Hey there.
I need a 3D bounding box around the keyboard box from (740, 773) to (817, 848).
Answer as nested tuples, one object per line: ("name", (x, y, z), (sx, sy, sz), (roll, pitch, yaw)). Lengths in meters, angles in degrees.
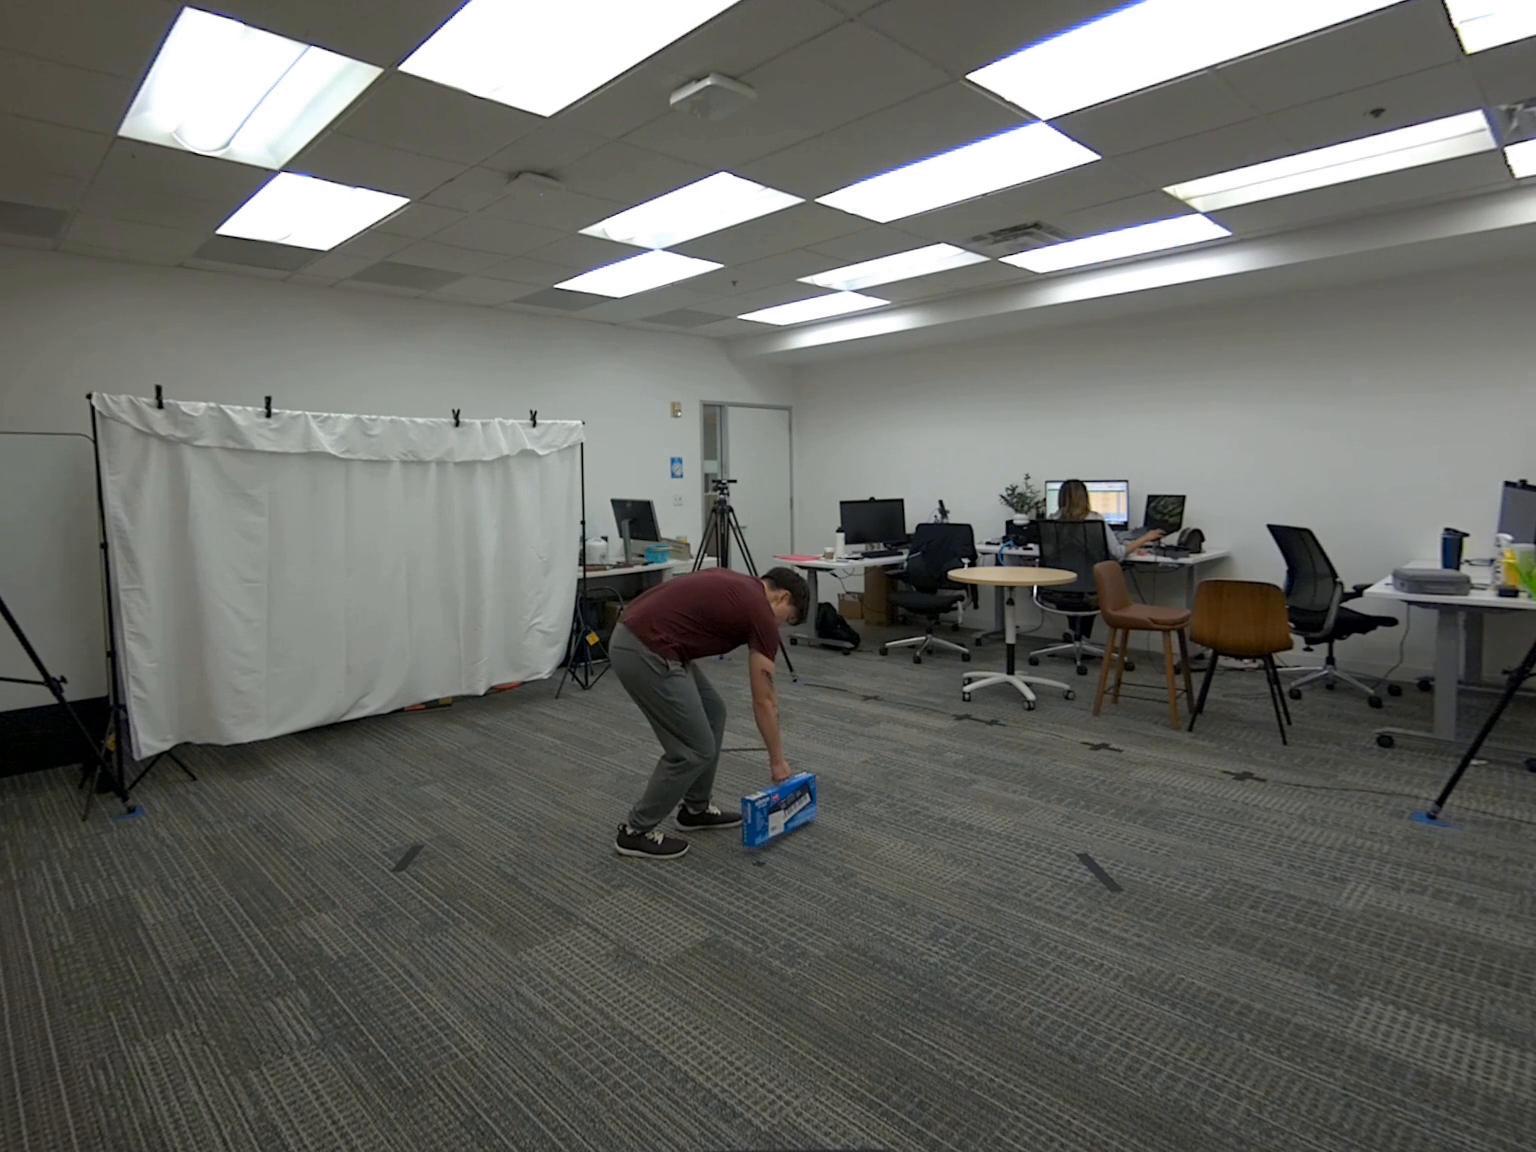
("keyboard box", (0.046, 0.894, 3.319), (0.061, 0.176, 0.425), (0, 3, 35))
